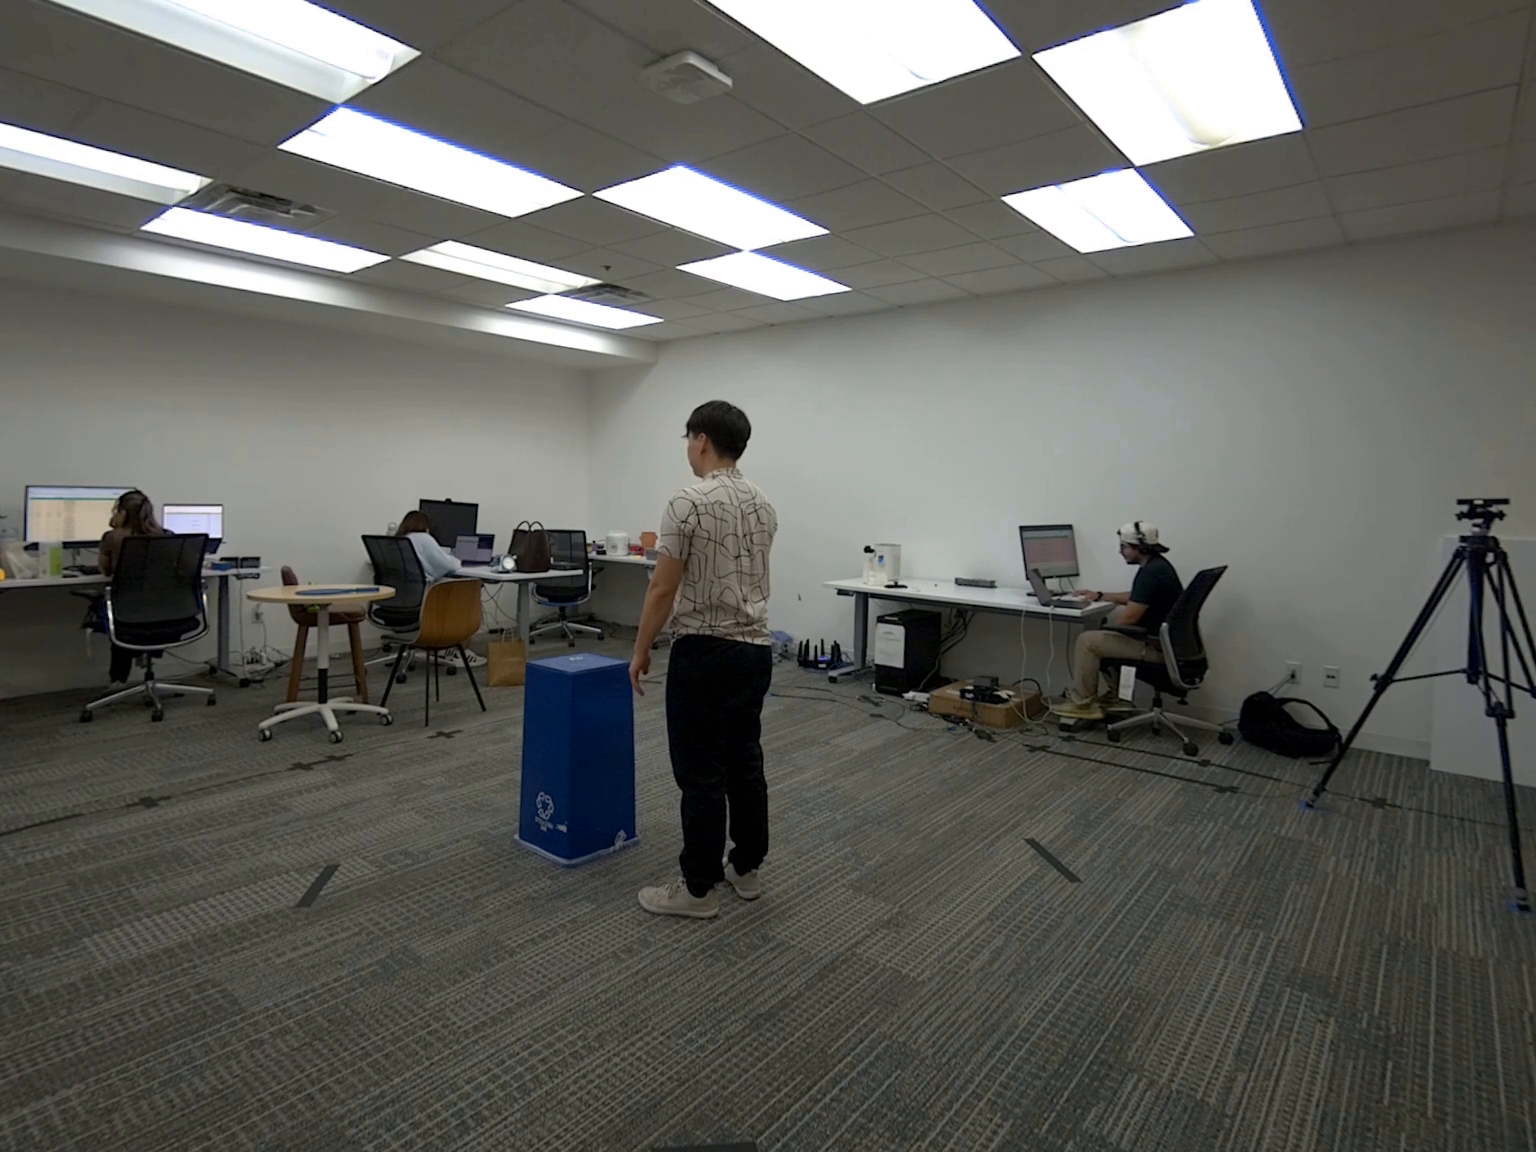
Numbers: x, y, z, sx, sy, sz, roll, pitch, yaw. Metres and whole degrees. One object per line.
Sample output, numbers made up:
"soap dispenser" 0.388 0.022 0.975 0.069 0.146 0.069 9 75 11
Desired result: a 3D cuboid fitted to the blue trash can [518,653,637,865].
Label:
"blue trash can" -0.762 0.683 3.321 0.391 0.712 0.363 3 4 42
